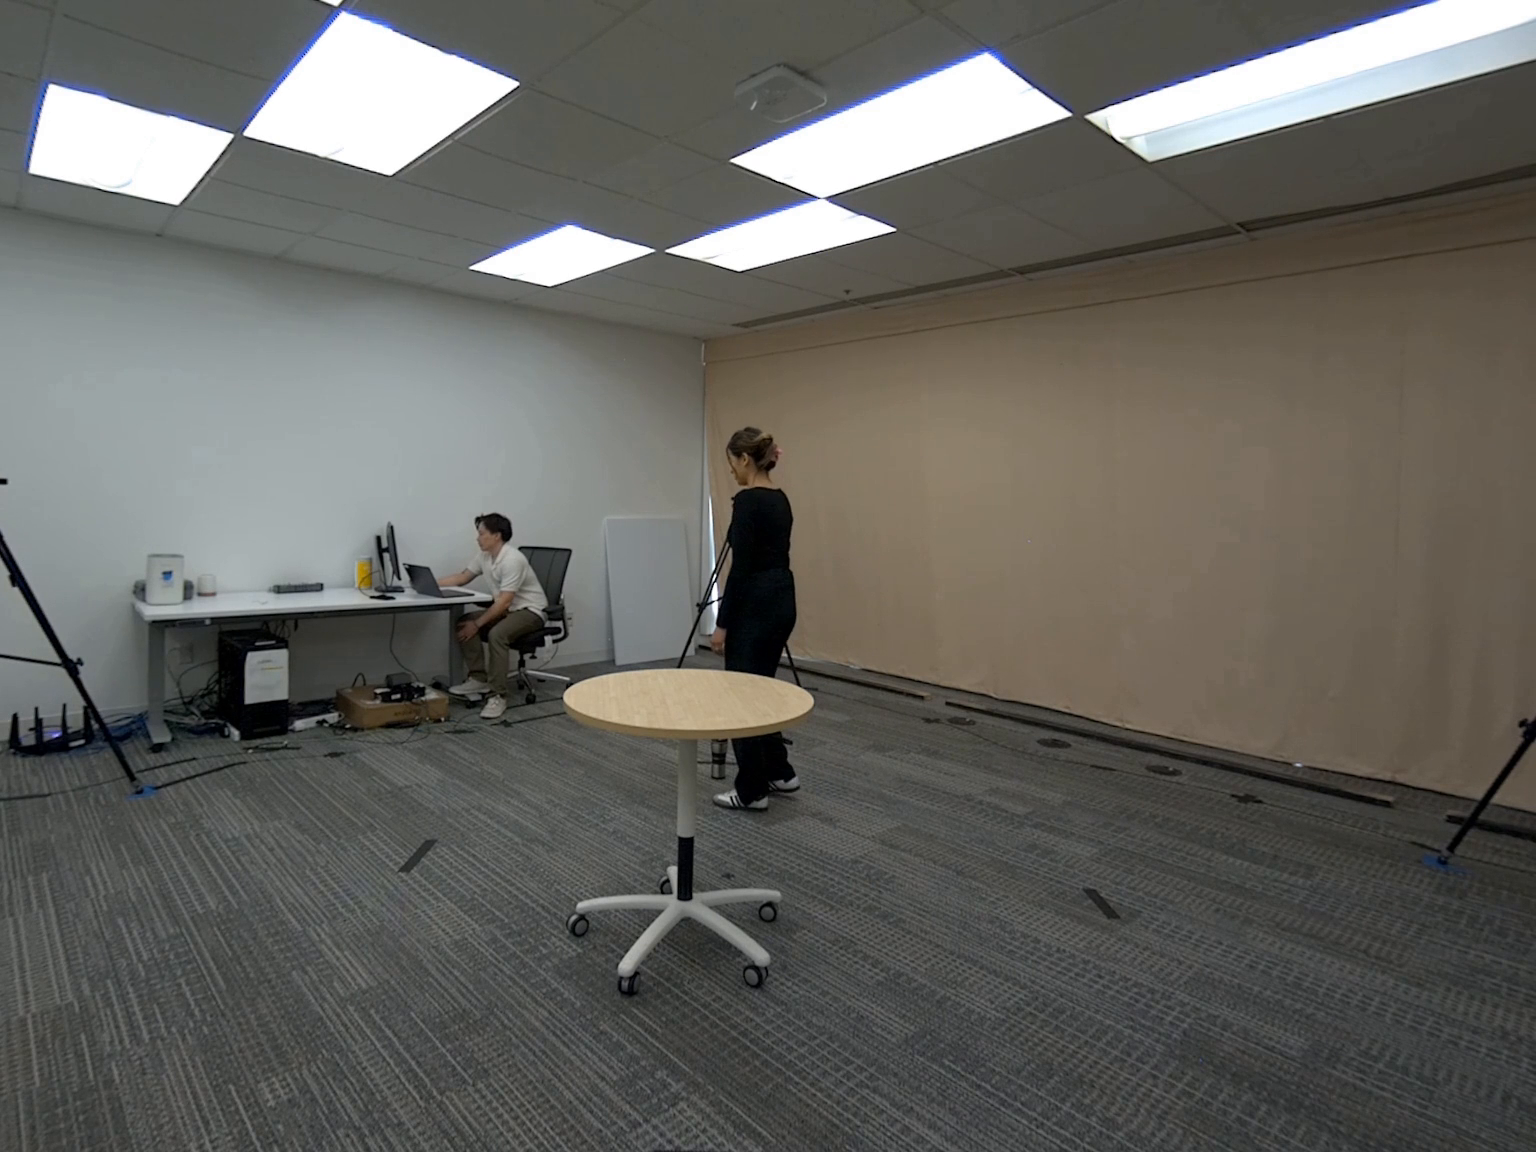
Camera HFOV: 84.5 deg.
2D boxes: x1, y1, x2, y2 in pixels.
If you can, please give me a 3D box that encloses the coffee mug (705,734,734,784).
[{"bbox_3d":[-0.245,0.913,4.241,0.089,0.202,0.120,0,4,25],"label":"coffee mug"}]
